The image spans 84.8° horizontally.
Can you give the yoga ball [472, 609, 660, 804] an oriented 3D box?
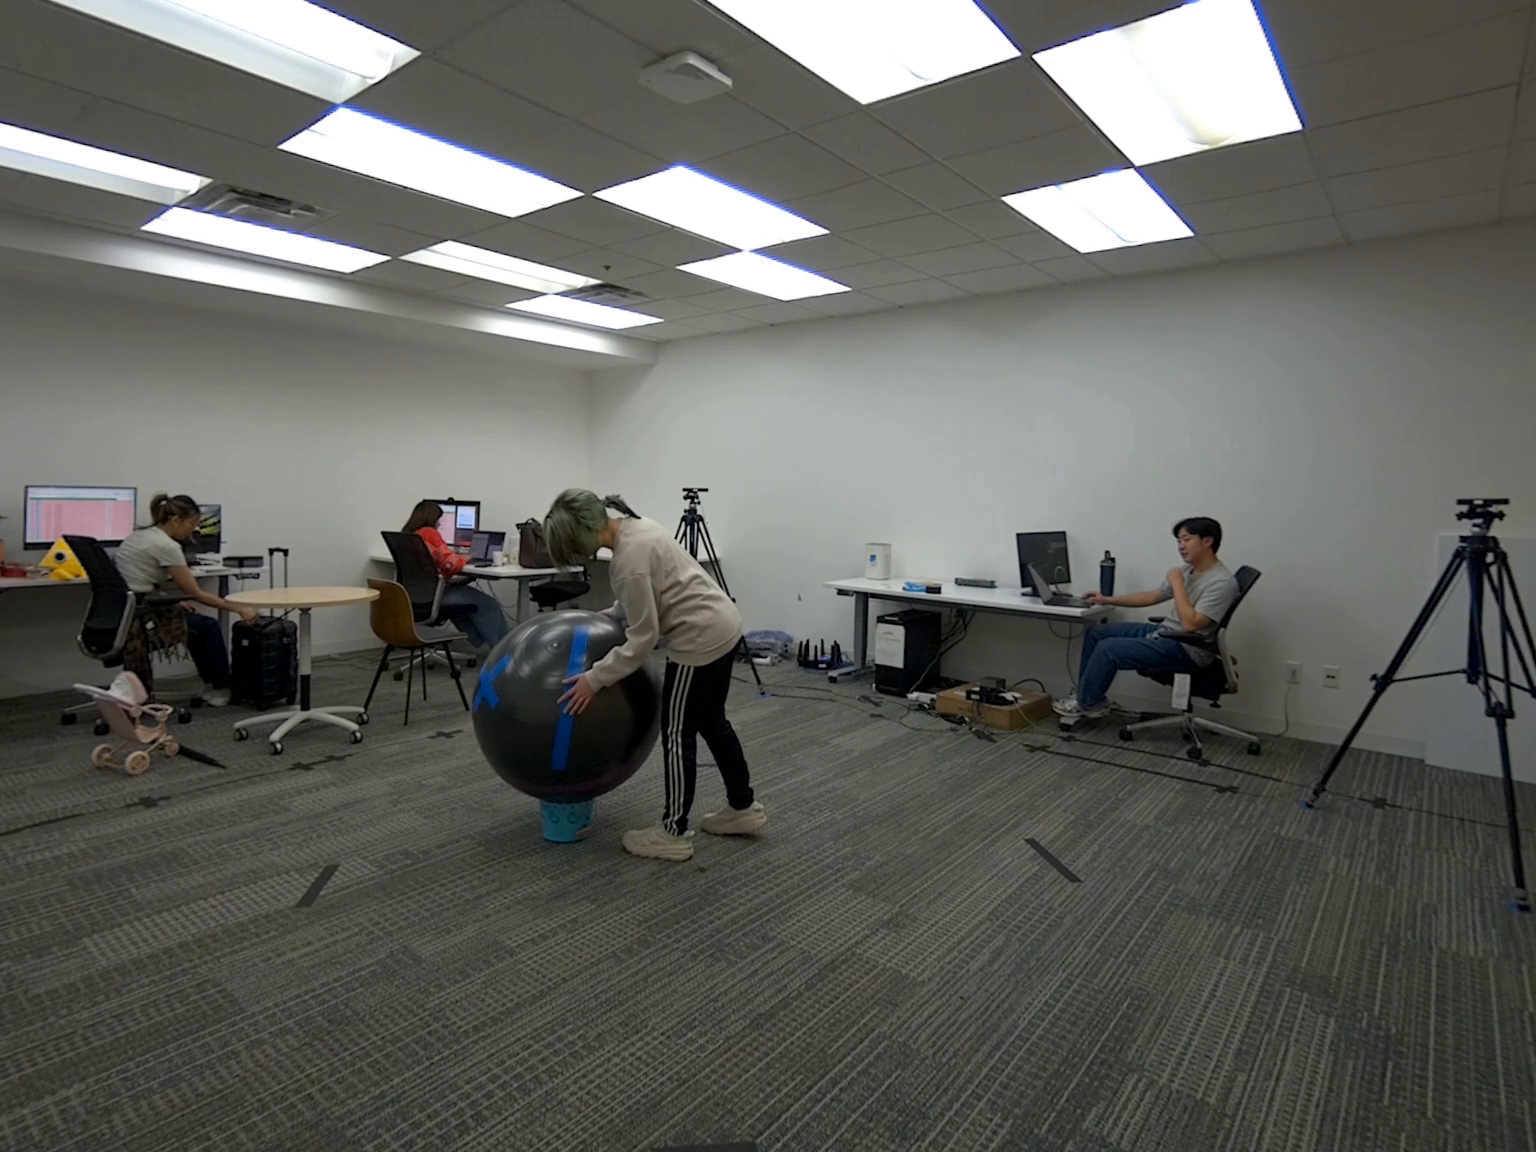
[{"bbox_3d":[-0.814,0.514,3.422,0.757,0.755,0.762,1,4,-2],"label":"yoga ball"}]
